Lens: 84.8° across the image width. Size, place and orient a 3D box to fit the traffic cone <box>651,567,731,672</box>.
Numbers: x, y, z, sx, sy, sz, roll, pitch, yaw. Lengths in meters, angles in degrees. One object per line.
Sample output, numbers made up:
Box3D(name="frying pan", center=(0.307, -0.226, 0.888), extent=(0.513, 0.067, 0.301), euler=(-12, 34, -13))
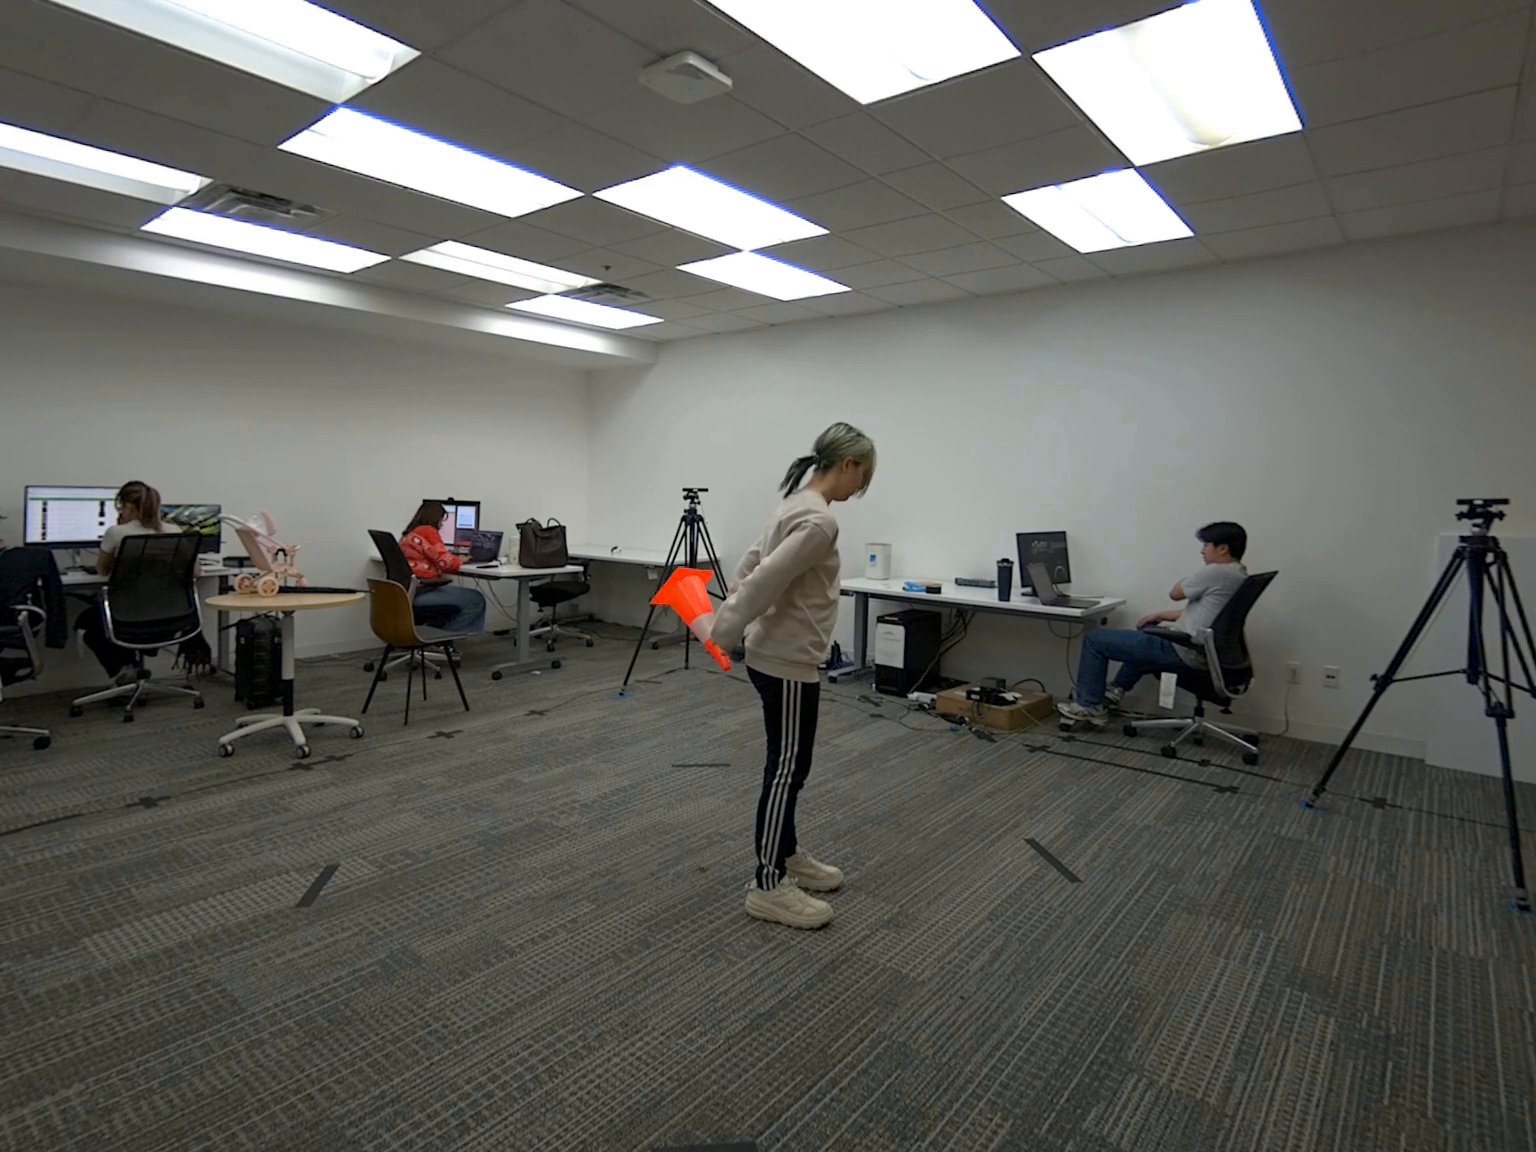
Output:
Box3D(name="traffic cone", center=(-0.224, 0.186, 3.089), extent=(0.198, 0.397, 0.203), euler=(8, -48, -49))
